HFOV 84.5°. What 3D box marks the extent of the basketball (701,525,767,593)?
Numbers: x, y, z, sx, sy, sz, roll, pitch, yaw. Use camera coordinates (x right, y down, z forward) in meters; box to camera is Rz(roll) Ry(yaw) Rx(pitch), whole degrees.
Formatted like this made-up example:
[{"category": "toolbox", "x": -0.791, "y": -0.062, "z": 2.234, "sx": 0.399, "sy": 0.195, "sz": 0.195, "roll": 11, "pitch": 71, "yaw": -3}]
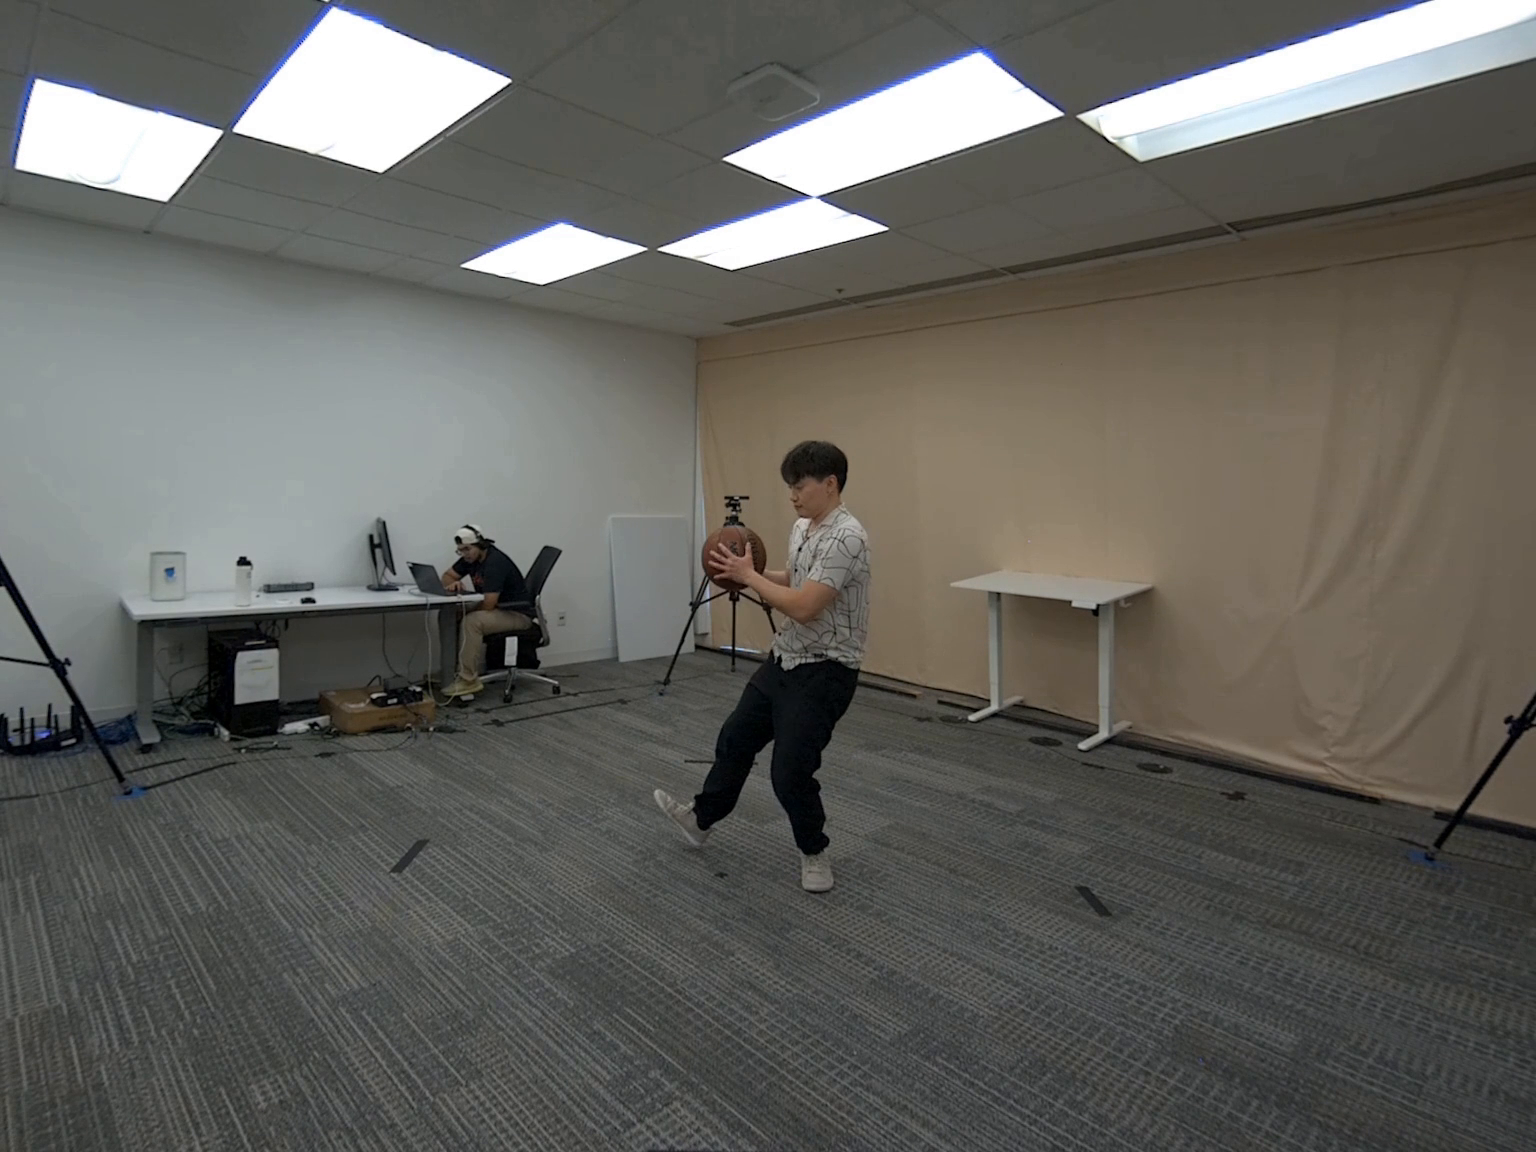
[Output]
[{"category": "basketball", "x": -0.132, "y": -0.049, "z": 3.062, "sx": 0.236, "sy": 0.235, "sz": 0.237, "roll": 1, "pitch": 4, "yaw": -1}]
